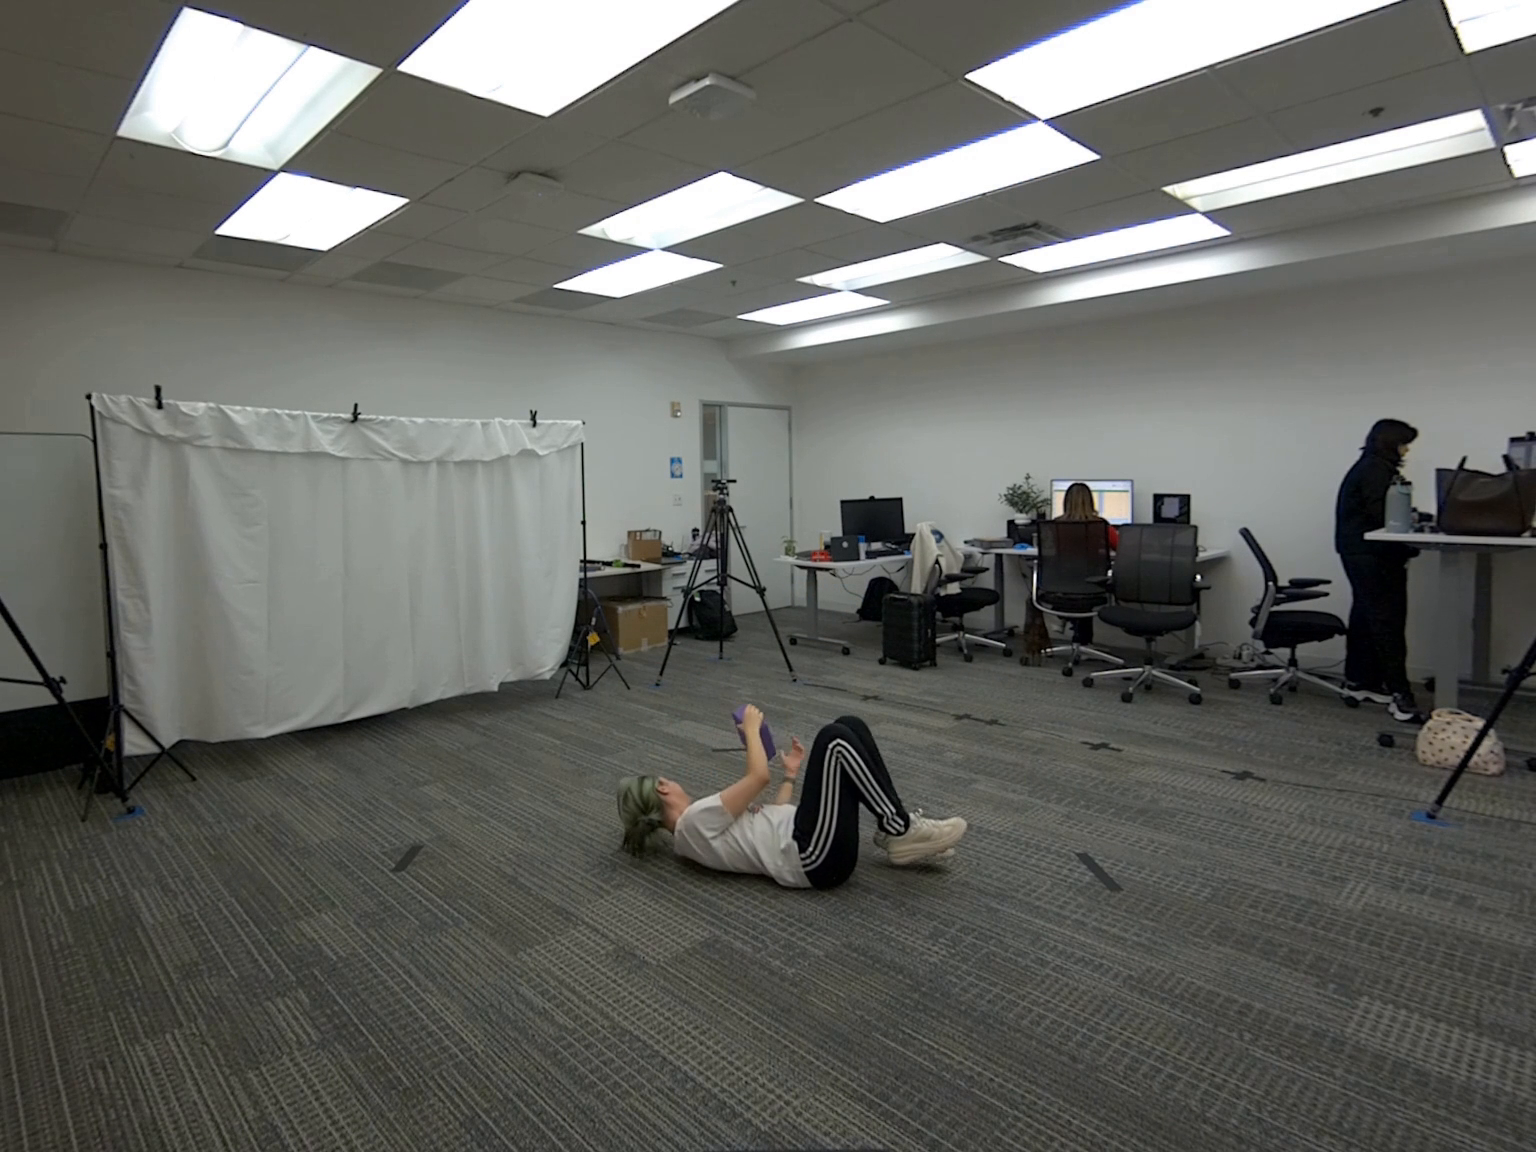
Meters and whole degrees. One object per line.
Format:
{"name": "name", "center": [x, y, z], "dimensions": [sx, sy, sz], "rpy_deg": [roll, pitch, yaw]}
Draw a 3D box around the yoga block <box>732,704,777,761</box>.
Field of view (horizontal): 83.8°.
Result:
{"name": "yoga block", "center": [-0.057, 0.643, 3.424], "dimensions": [0.076, 0.221, 0.155], "rpy_deg": [-38, 45, -19]}
